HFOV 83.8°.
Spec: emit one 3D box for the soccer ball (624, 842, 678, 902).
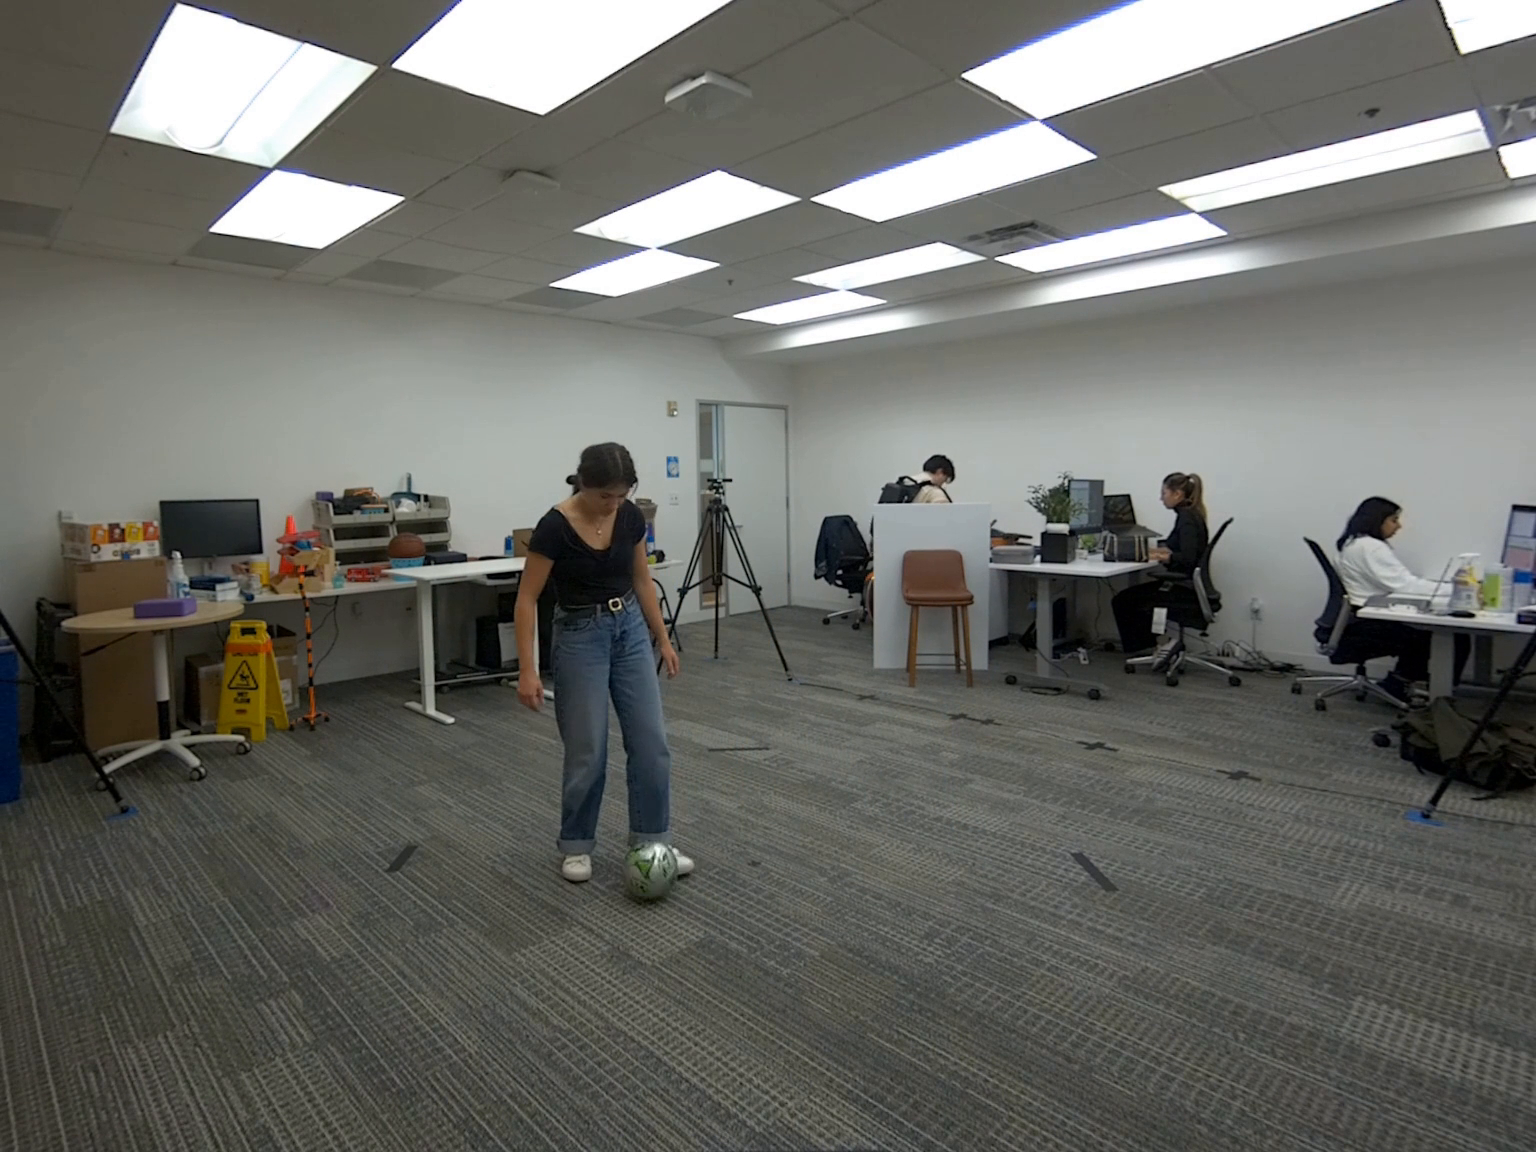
[{"bbox_3d":[-0.395,0.989,2.868,0.187,0.187,0.188,-1,5,-2],"label":"soccer ball"}]
